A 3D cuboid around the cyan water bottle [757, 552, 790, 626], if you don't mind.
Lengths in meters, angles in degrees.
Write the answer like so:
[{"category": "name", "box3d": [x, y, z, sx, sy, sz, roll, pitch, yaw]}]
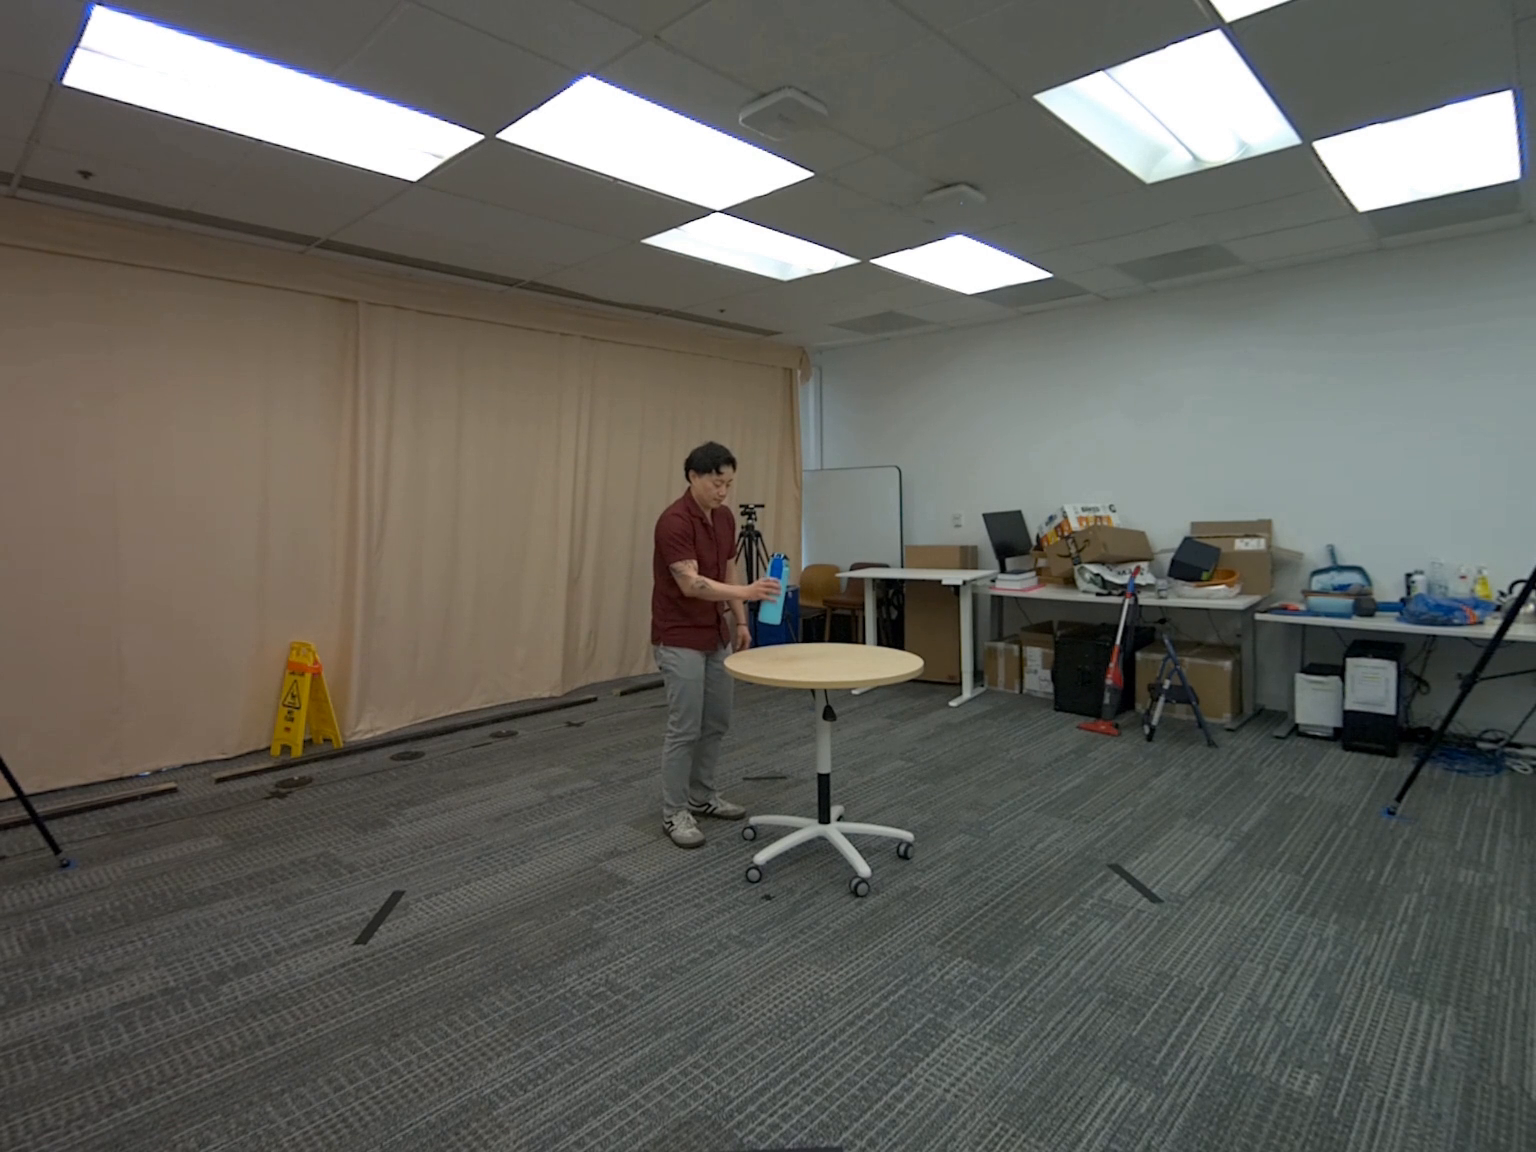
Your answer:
[{"category": "cyan water bottle", "box3d": [0.033, 0.039, 3.322, 0.092, 0.283, 0.093, 9, 5, -3]}]
